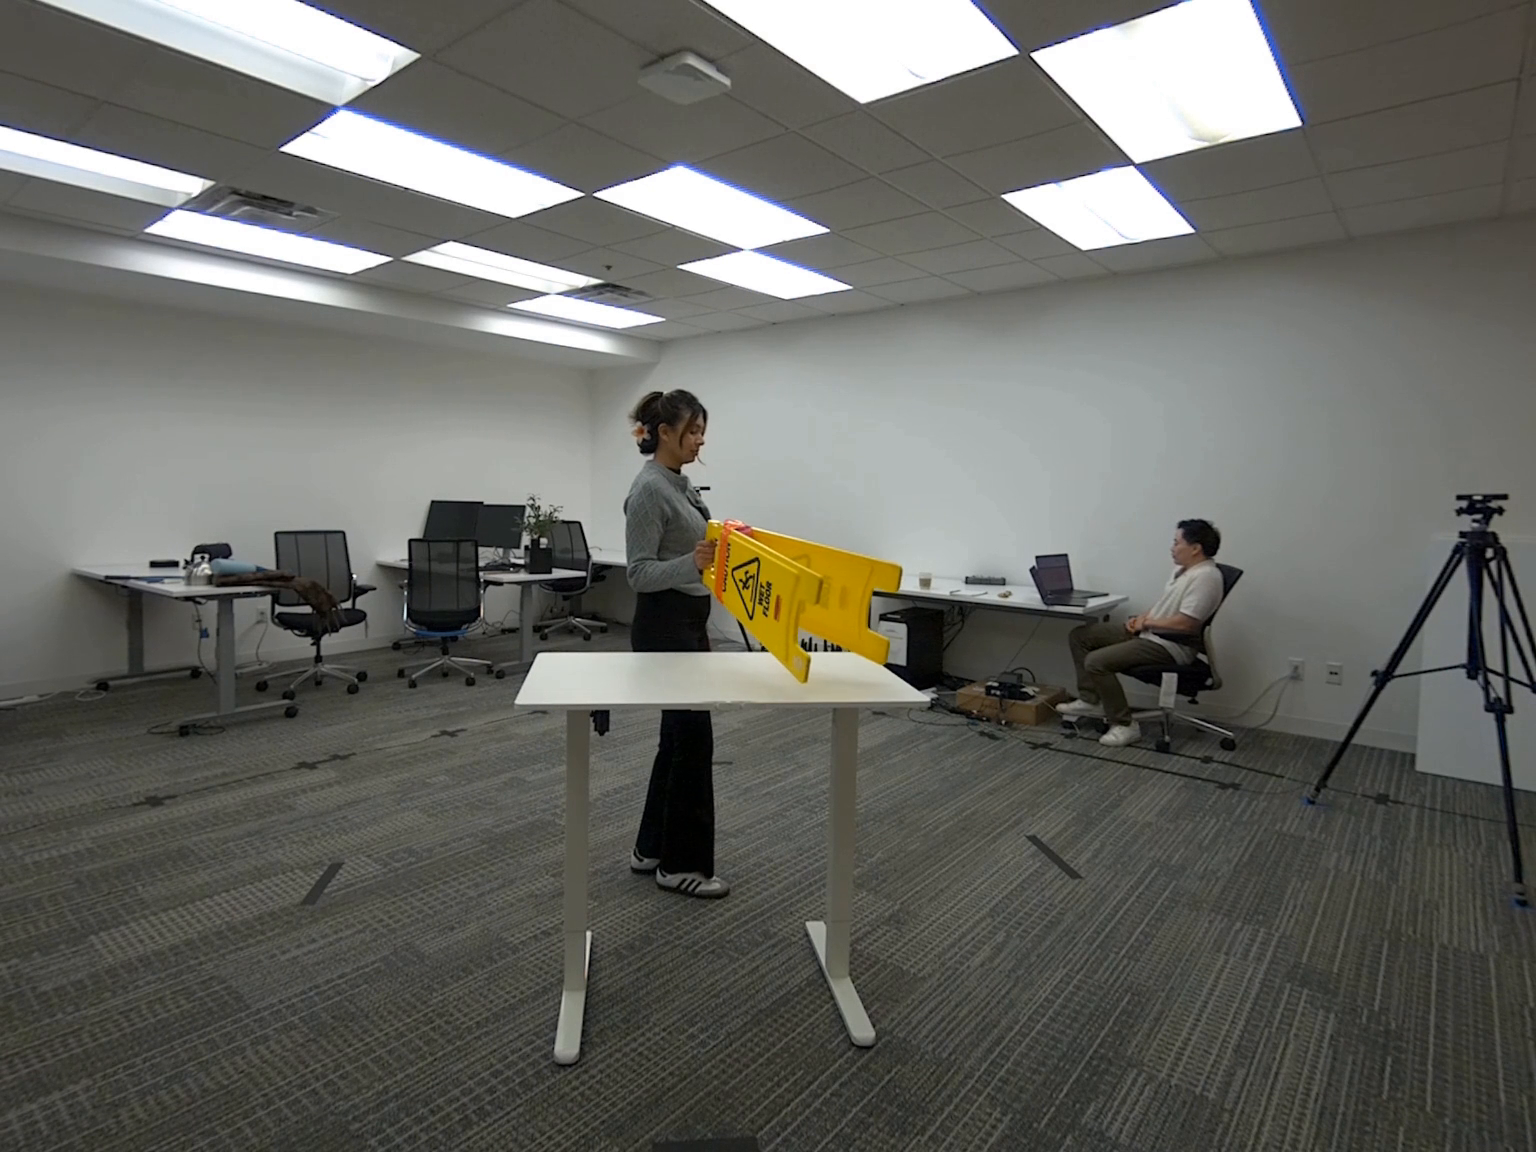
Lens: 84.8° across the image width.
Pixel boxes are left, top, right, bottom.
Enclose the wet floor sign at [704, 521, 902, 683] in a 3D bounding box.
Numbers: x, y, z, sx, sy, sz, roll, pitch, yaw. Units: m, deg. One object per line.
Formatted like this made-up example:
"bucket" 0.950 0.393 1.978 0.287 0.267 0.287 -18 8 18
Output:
"wet floor sign" 0.010 0.019 2.368 0.282 0.278 0.673 -7 22 -38
